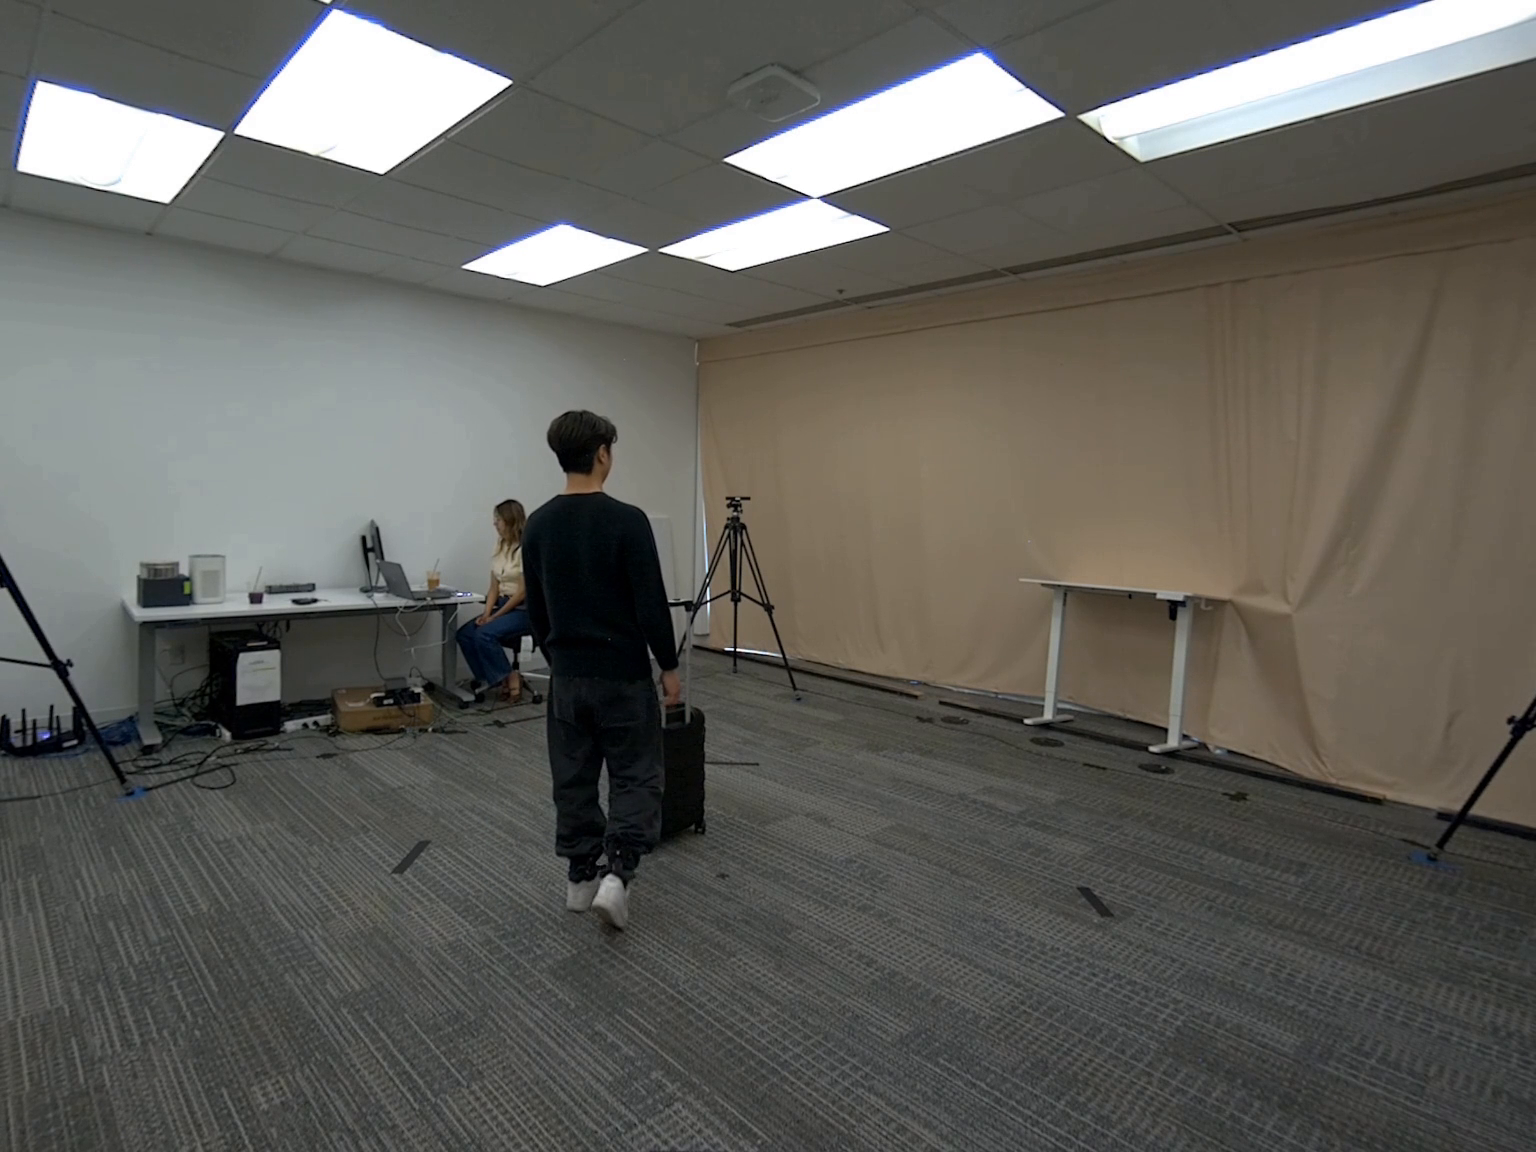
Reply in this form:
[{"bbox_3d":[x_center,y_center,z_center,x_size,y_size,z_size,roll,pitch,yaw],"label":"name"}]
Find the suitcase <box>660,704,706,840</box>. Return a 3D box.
[{"bbox_3d":[-0.459,0.592,3.437,0.263,0.976,0.375,3,4,43],"label":"suitcase"}]
